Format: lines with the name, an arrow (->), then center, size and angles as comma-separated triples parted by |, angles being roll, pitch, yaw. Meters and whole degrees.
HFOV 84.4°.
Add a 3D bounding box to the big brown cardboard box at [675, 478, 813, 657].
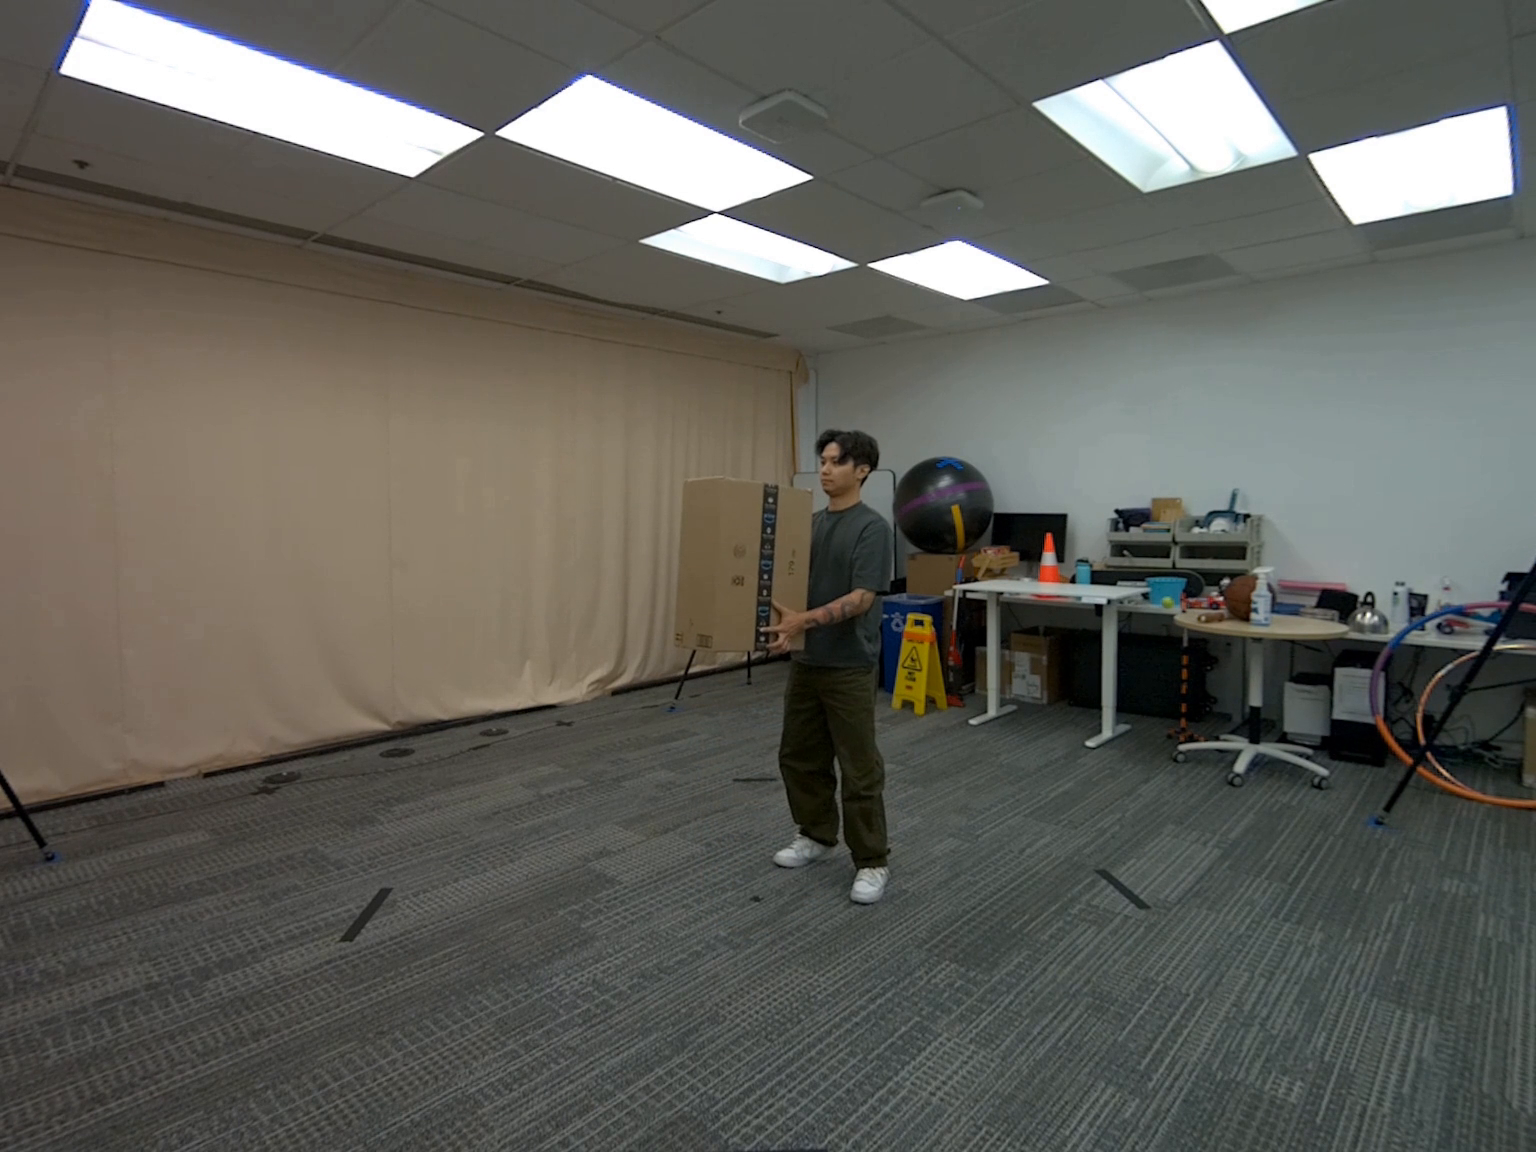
big brown cardboard box -> -0.078, -0.036, 2.901 | 0.404, 0.590, 0.240 | 5, -3, -40
